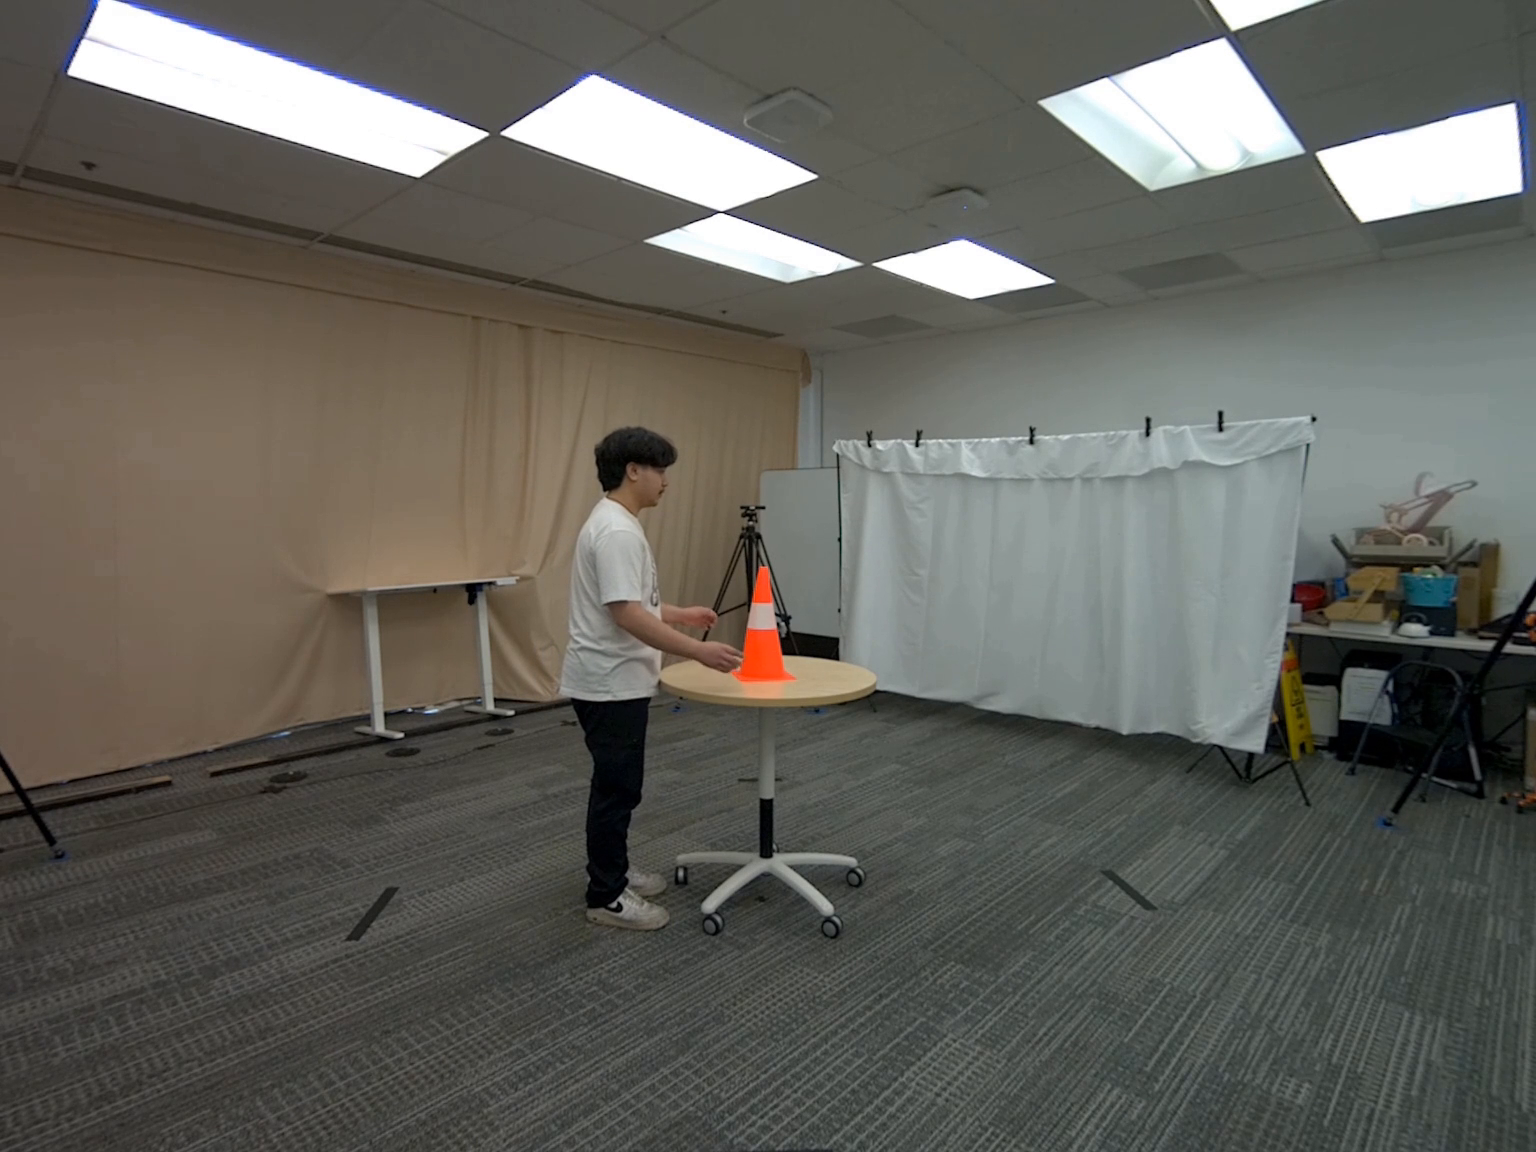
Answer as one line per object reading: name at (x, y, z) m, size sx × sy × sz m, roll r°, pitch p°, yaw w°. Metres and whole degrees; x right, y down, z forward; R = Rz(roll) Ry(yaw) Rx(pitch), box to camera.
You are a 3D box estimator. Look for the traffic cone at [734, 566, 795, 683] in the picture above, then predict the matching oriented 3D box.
traffic cone at (-0.015, 0.162, 2.948) m, size 0.209 × 0.383 × 0.199 m, roll 2°, pitch 1°, yaw 33°
